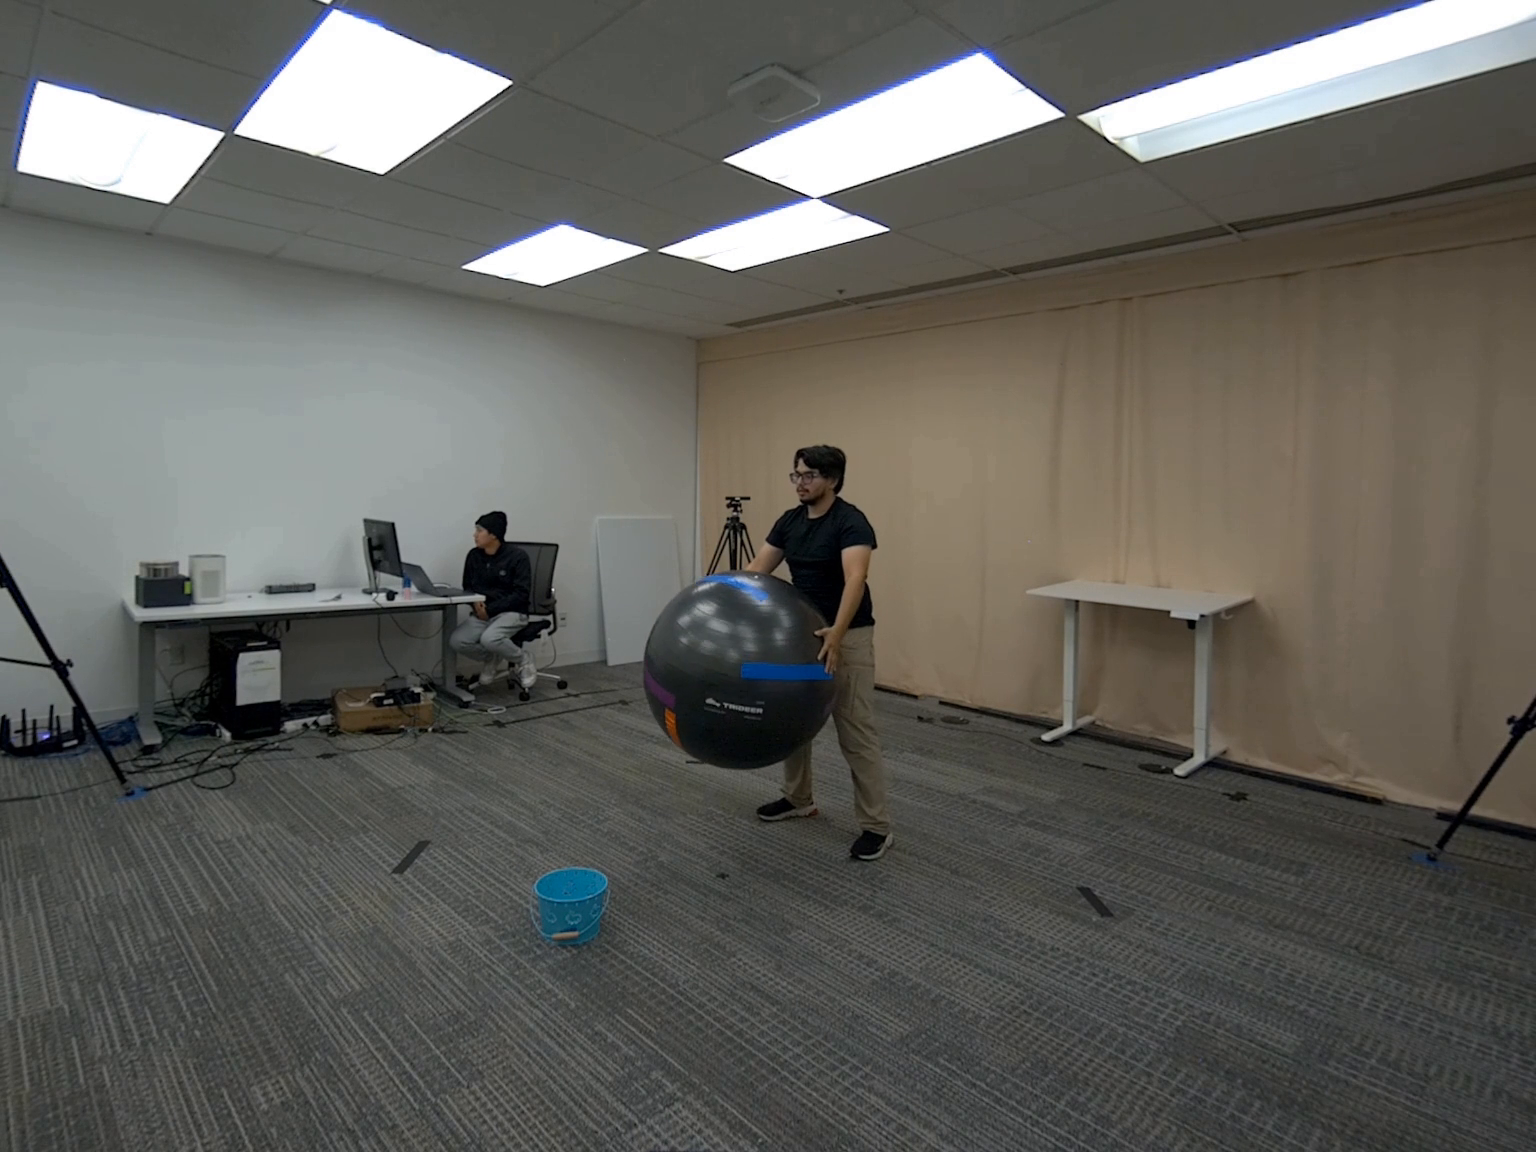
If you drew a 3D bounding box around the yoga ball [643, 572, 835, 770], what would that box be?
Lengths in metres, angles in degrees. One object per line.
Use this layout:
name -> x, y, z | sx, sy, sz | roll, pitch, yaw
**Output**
yoga ball -> -0.108, 0.364, 3.240 | 0.757, 0.756, 0.760 | 1, 4, -1
